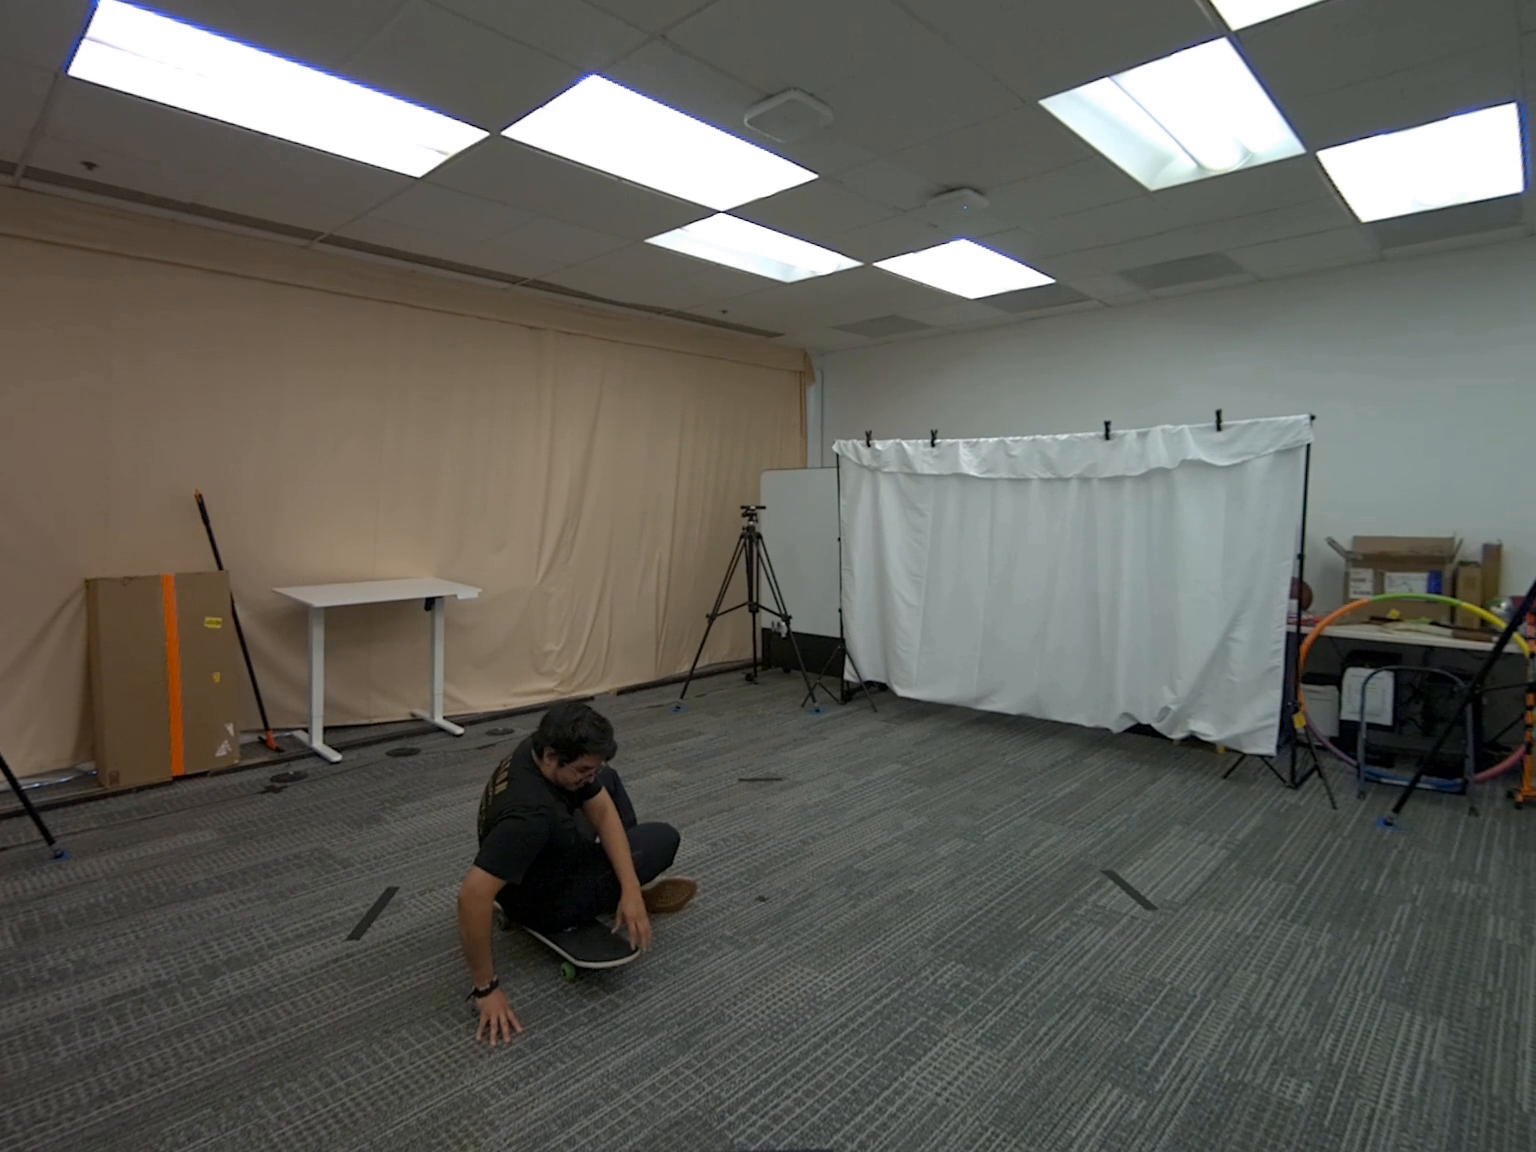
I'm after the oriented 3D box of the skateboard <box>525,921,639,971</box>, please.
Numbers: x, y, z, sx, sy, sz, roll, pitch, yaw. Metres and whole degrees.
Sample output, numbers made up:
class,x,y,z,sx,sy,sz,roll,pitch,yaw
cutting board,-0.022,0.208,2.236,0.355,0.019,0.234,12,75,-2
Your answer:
class,x,y,z,sx,sy,sz,roll,pitch,yaw
skateboard,-0.669,1.116,2.690,0.187,0.110,0.811,-3,5,-41
